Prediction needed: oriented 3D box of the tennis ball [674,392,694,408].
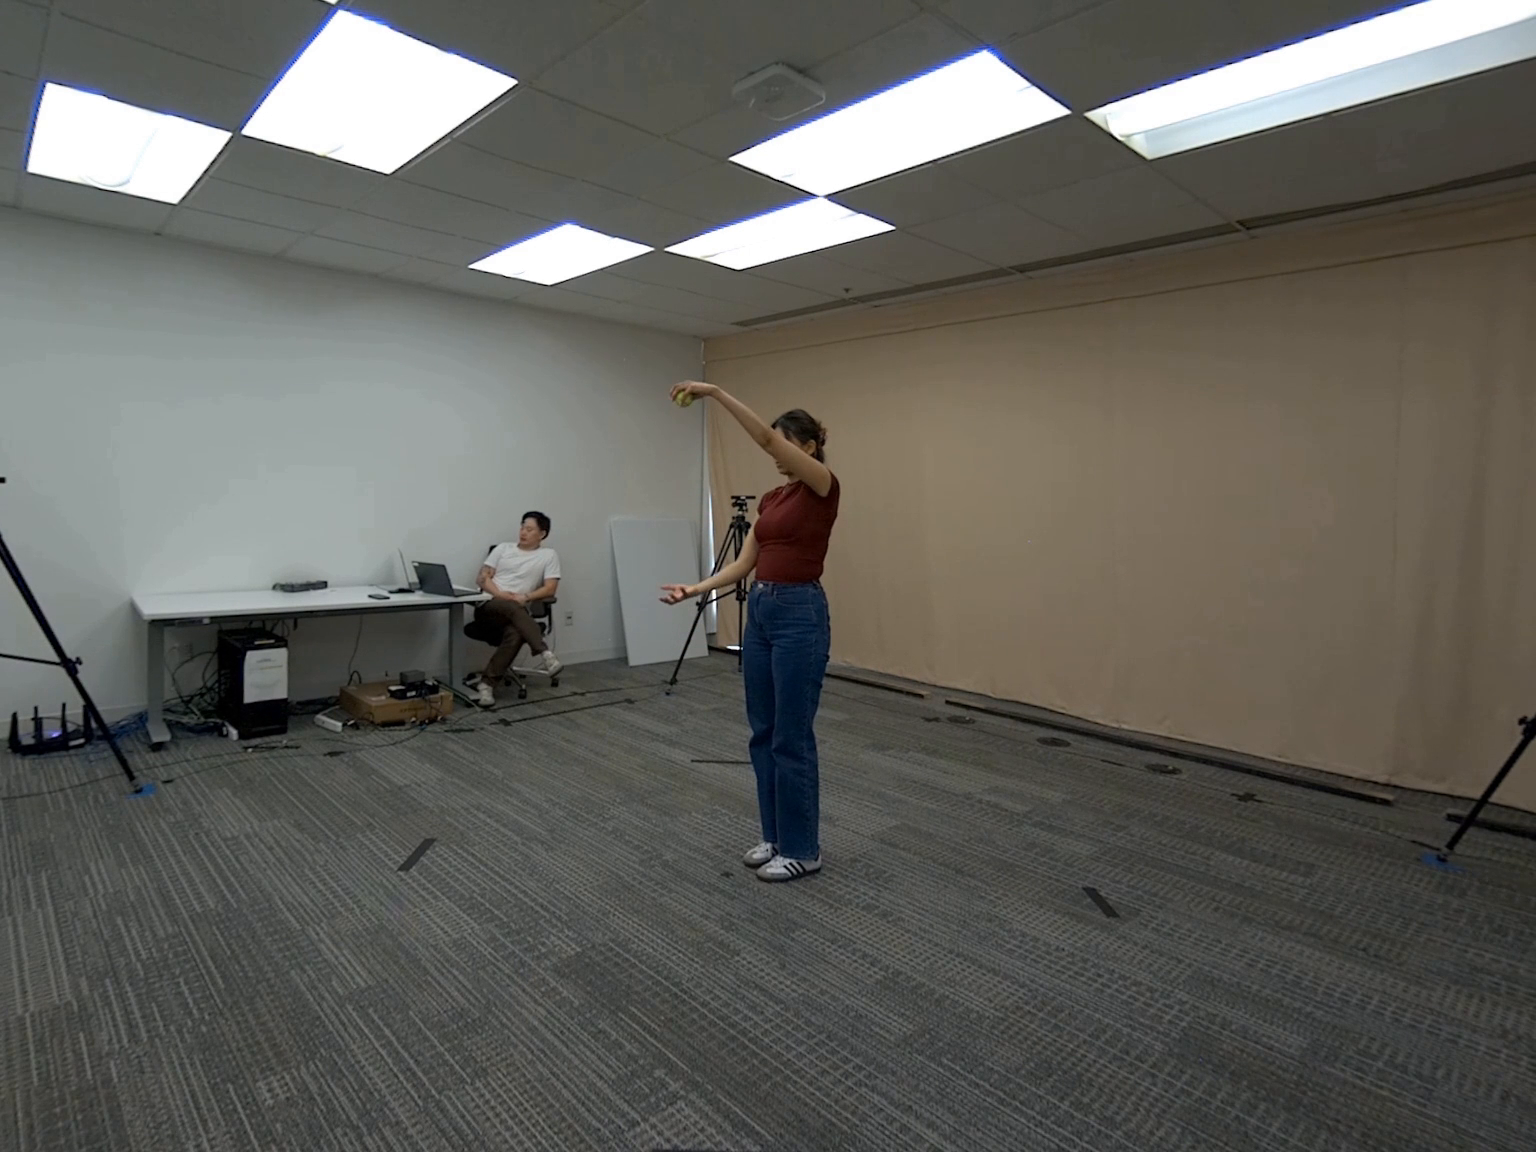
[{"bbox_3d":[-0.306,-0.574,2.889,0.066,0.066,0.067,1,4,-1],"label":"tennis ball"}]
